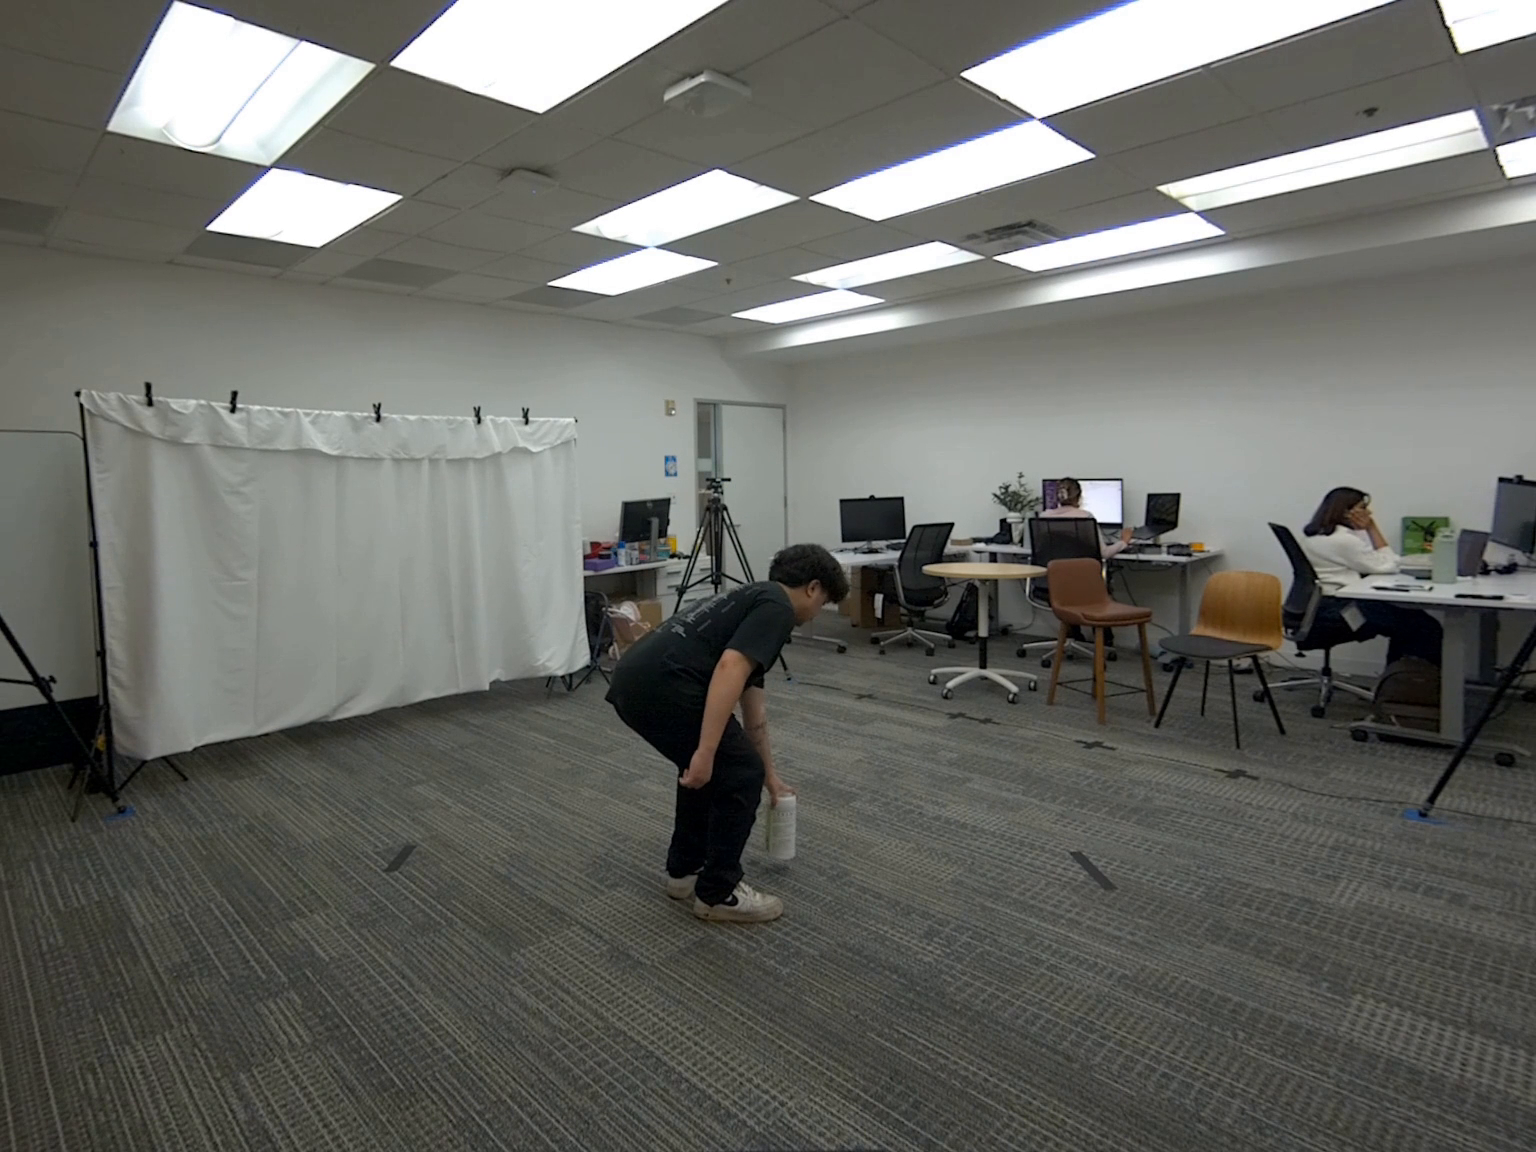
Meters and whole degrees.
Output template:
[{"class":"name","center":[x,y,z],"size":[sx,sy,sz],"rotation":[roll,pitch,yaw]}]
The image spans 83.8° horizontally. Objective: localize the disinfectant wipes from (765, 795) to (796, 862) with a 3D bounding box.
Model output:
[{"class":"disinfectant wipes","center":[0.047,0.887,3.057],"size":[0.118,0.218,0.118],"rotation":[0,-1,-2]}]
